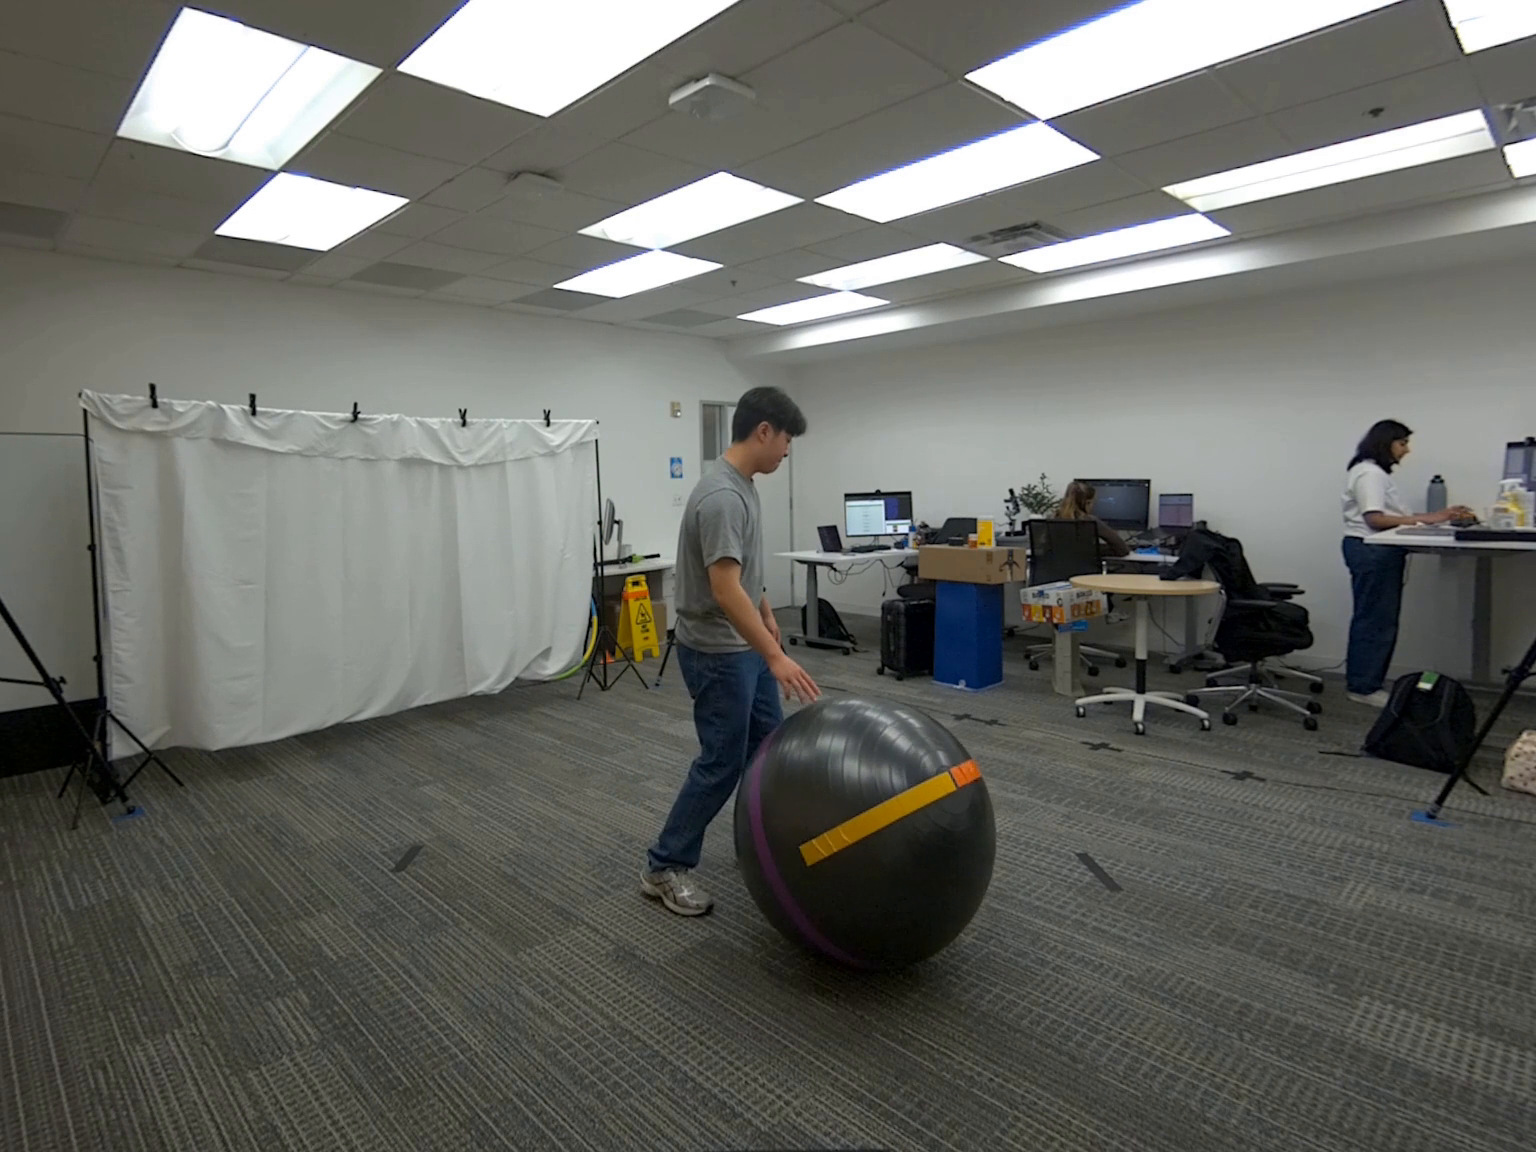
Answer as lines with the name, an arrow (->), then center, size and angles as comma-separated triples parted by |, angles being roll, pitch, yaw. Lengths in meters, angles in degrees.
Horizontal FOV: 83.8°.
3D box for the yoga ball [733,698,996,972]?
yoga ball -> 0.285, 0.742, 2.491 | 0.757, 0.755, 0.762 | -1, 5, -2
